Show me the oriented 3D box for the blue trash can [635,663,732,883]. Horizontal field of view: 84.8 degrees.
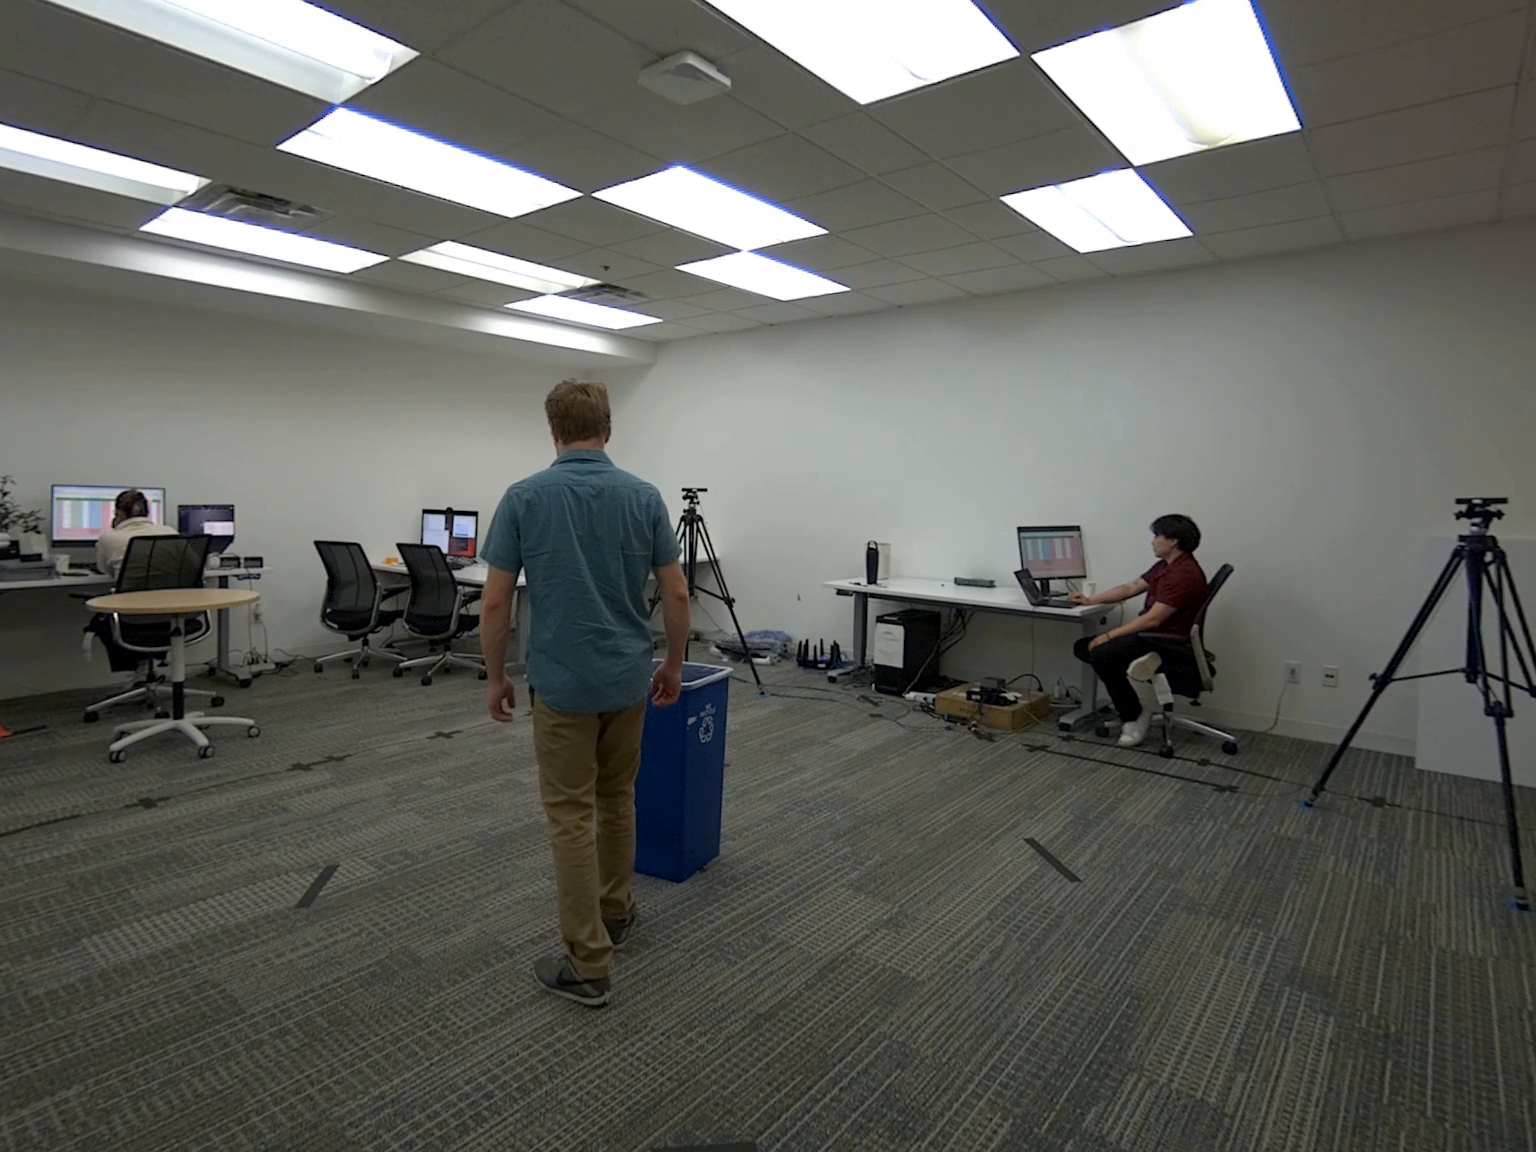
[{"bbox_3d":[-0.380,0.704,3.181,0.388,0.712,0.365,3,3,26],"label":"blue trash can"}]
